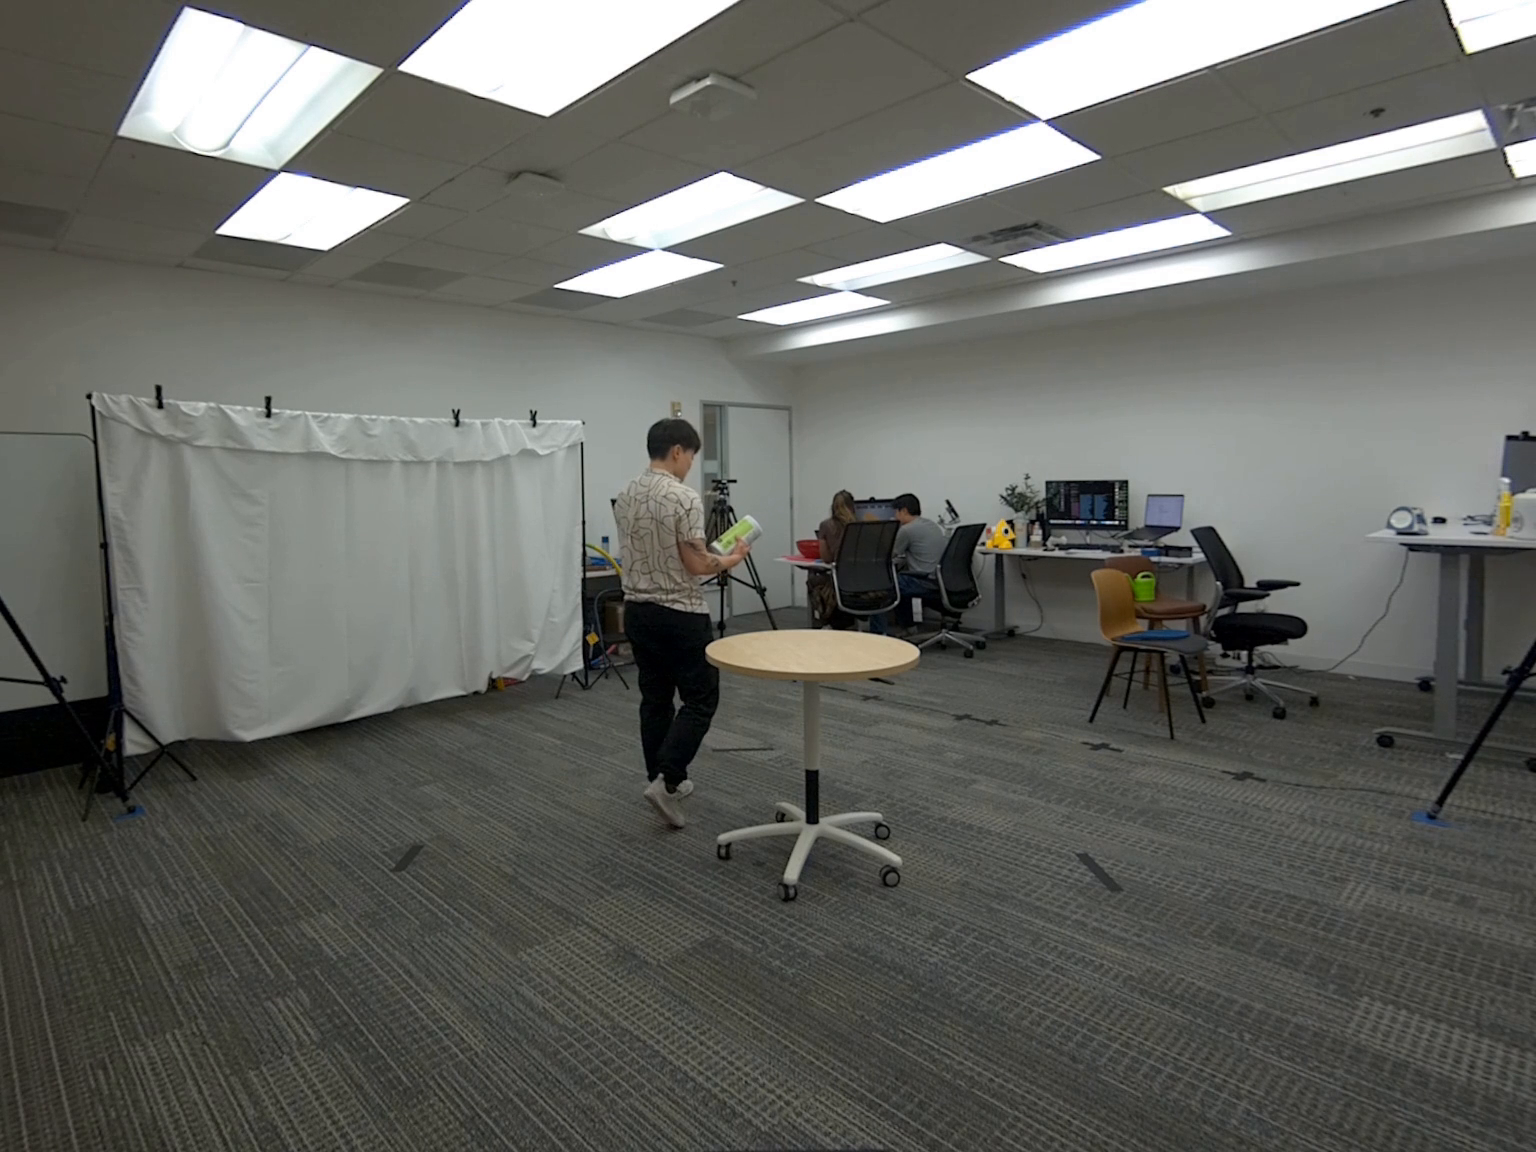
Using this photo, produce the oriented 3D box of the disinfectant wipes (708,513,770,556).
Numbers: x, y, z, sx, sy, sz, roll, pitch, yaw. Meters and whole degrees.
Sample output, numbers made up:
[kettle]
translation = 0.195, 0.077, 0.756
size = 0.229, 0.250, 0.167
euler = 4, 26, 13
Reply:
[disinfectant wipes]
translation = -0.131, -0.157, 3.723
size = 0.217, 0.115, 0.120
euler = -41, 17, -13
